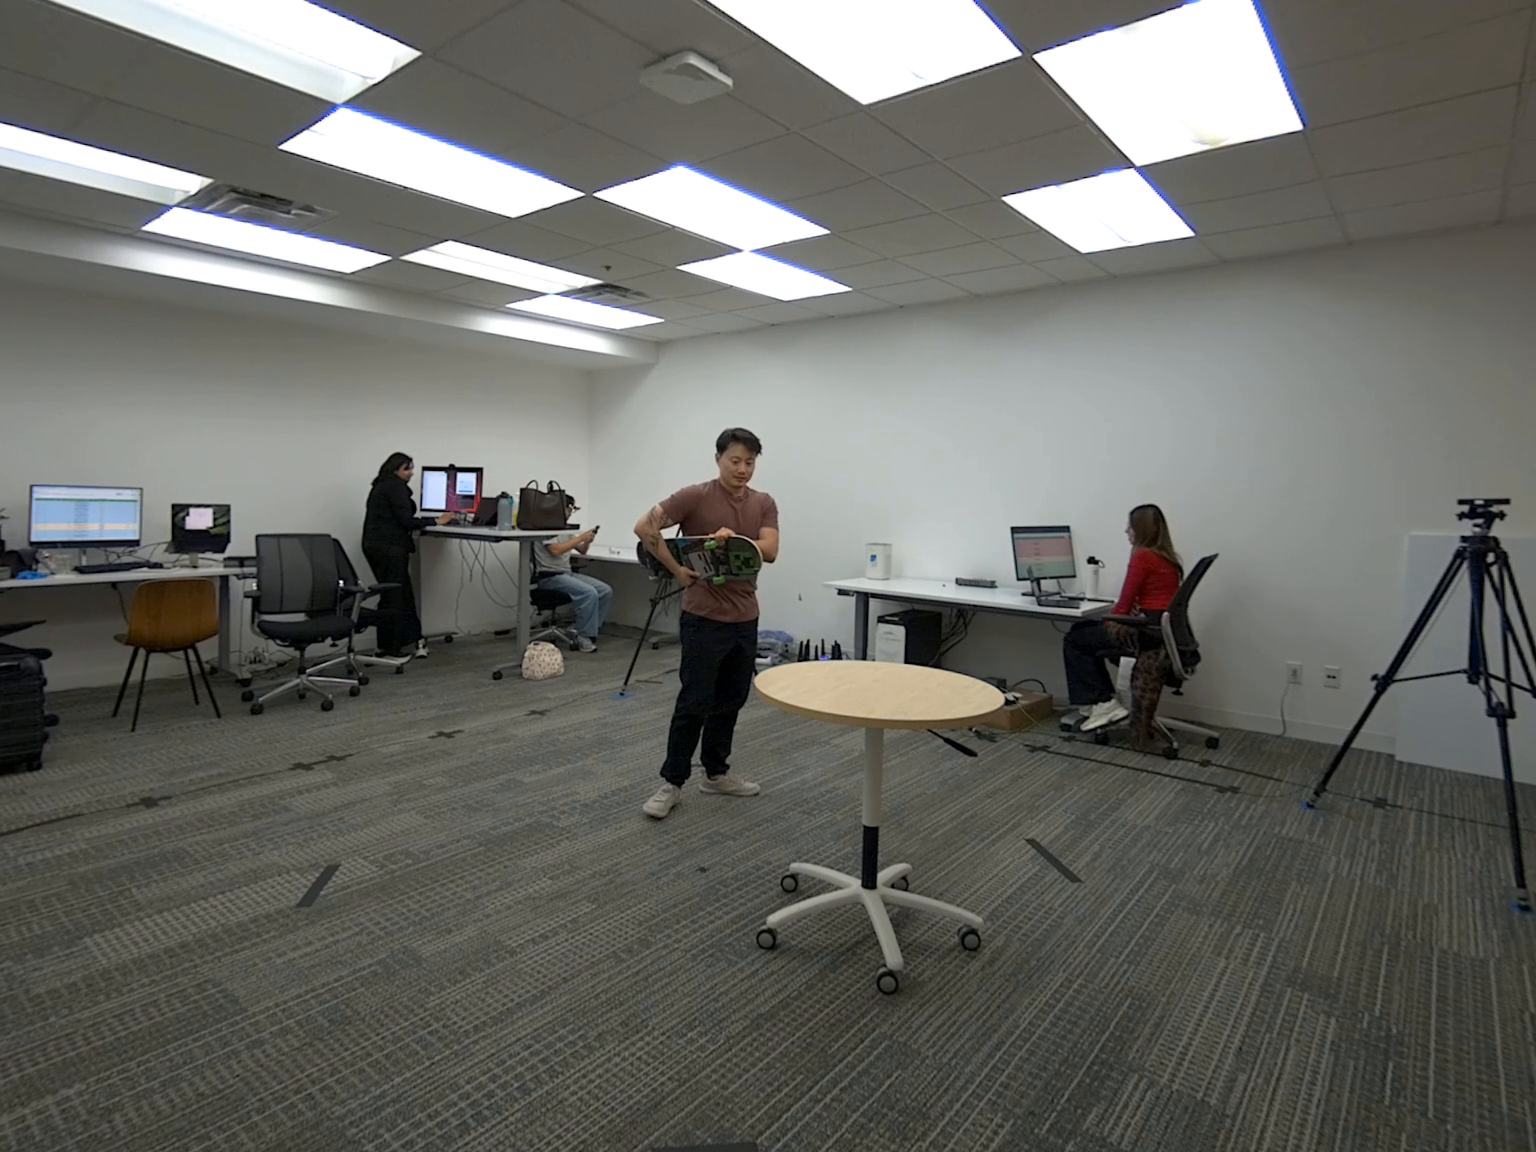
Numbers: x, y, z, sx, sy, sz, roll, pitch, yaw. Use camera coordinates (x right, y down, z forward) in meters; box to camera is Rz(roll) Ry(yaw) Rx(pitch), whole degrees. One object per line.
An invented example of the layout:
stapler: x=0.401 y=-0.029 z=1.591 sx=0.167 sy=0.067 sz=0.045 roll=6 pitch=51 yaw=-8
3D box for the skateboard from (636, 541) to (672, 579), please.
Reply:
skateboard: x=-0.360 y=-0.077 z=3.712 sx=0.810 sy=0.191 sz=0.108 roll=0 pitch=18 yaw=44
